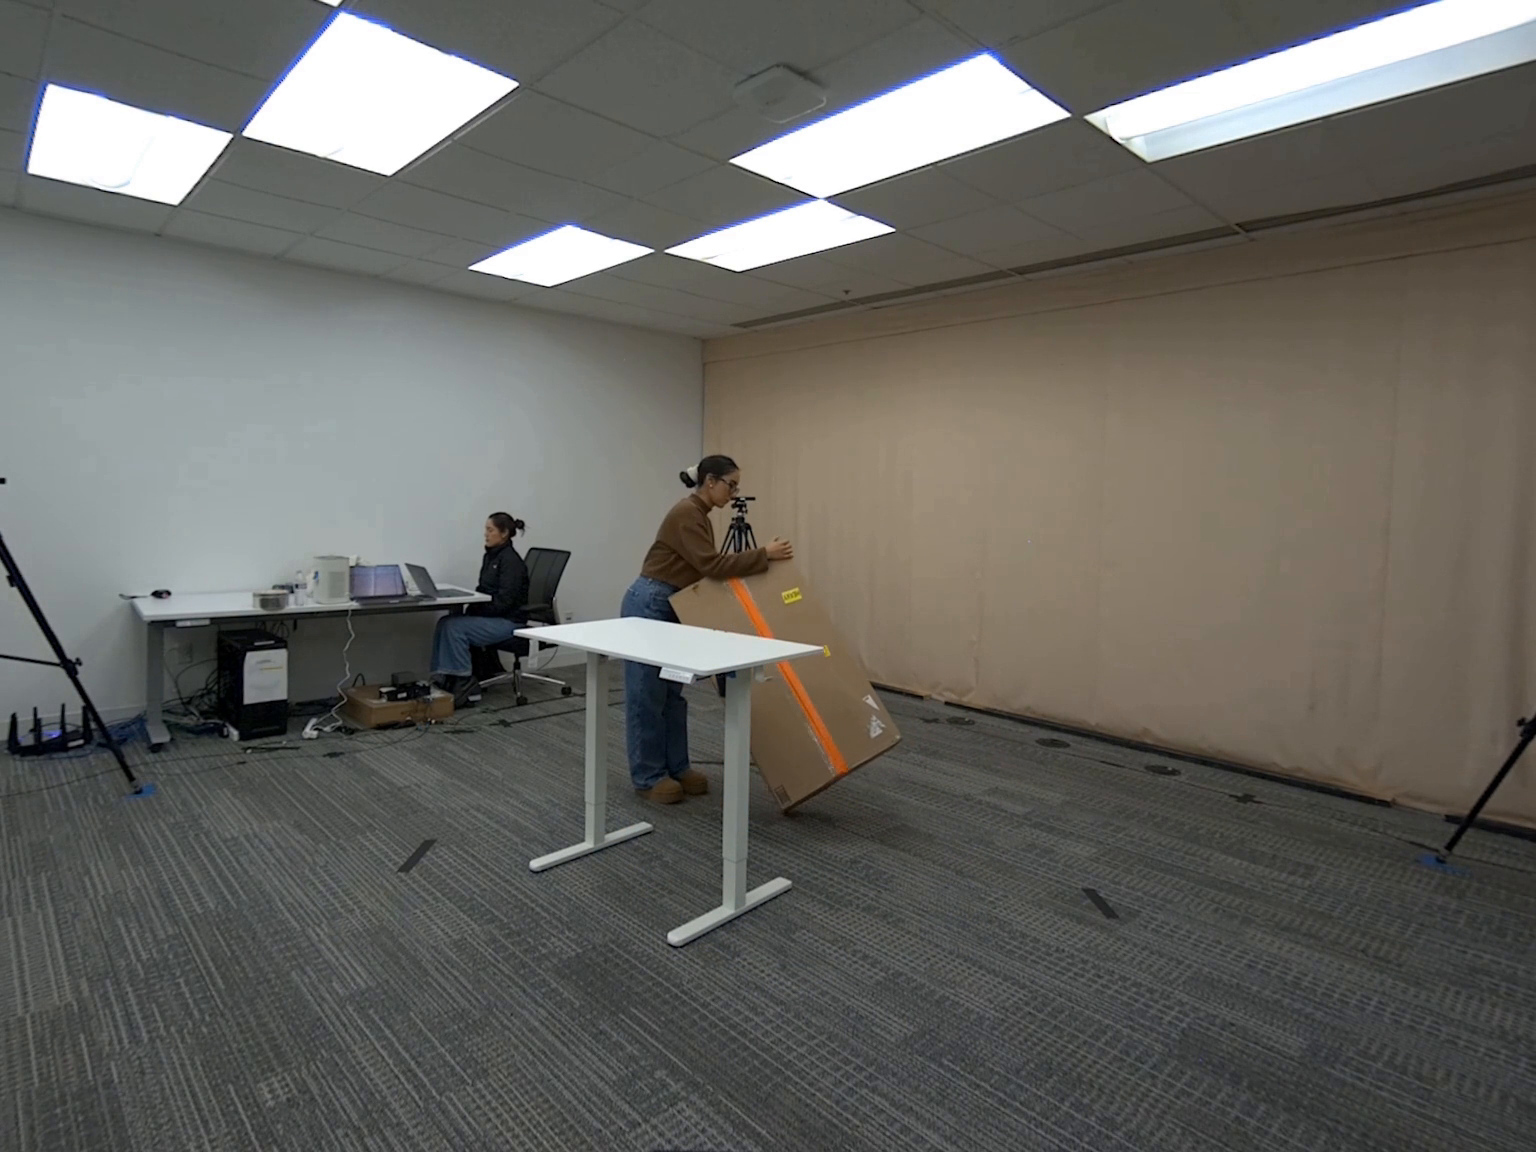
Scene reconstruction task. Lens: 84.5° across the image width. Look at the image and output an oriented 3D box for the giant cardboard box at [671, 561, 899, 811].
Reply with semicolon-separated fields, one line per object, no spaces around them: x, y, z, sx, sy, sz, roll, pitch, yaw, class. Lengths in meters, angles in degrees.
0.055;0.448;3.784;0.576;1.045;0.419;-28;-18;-8;giant cardboard box
